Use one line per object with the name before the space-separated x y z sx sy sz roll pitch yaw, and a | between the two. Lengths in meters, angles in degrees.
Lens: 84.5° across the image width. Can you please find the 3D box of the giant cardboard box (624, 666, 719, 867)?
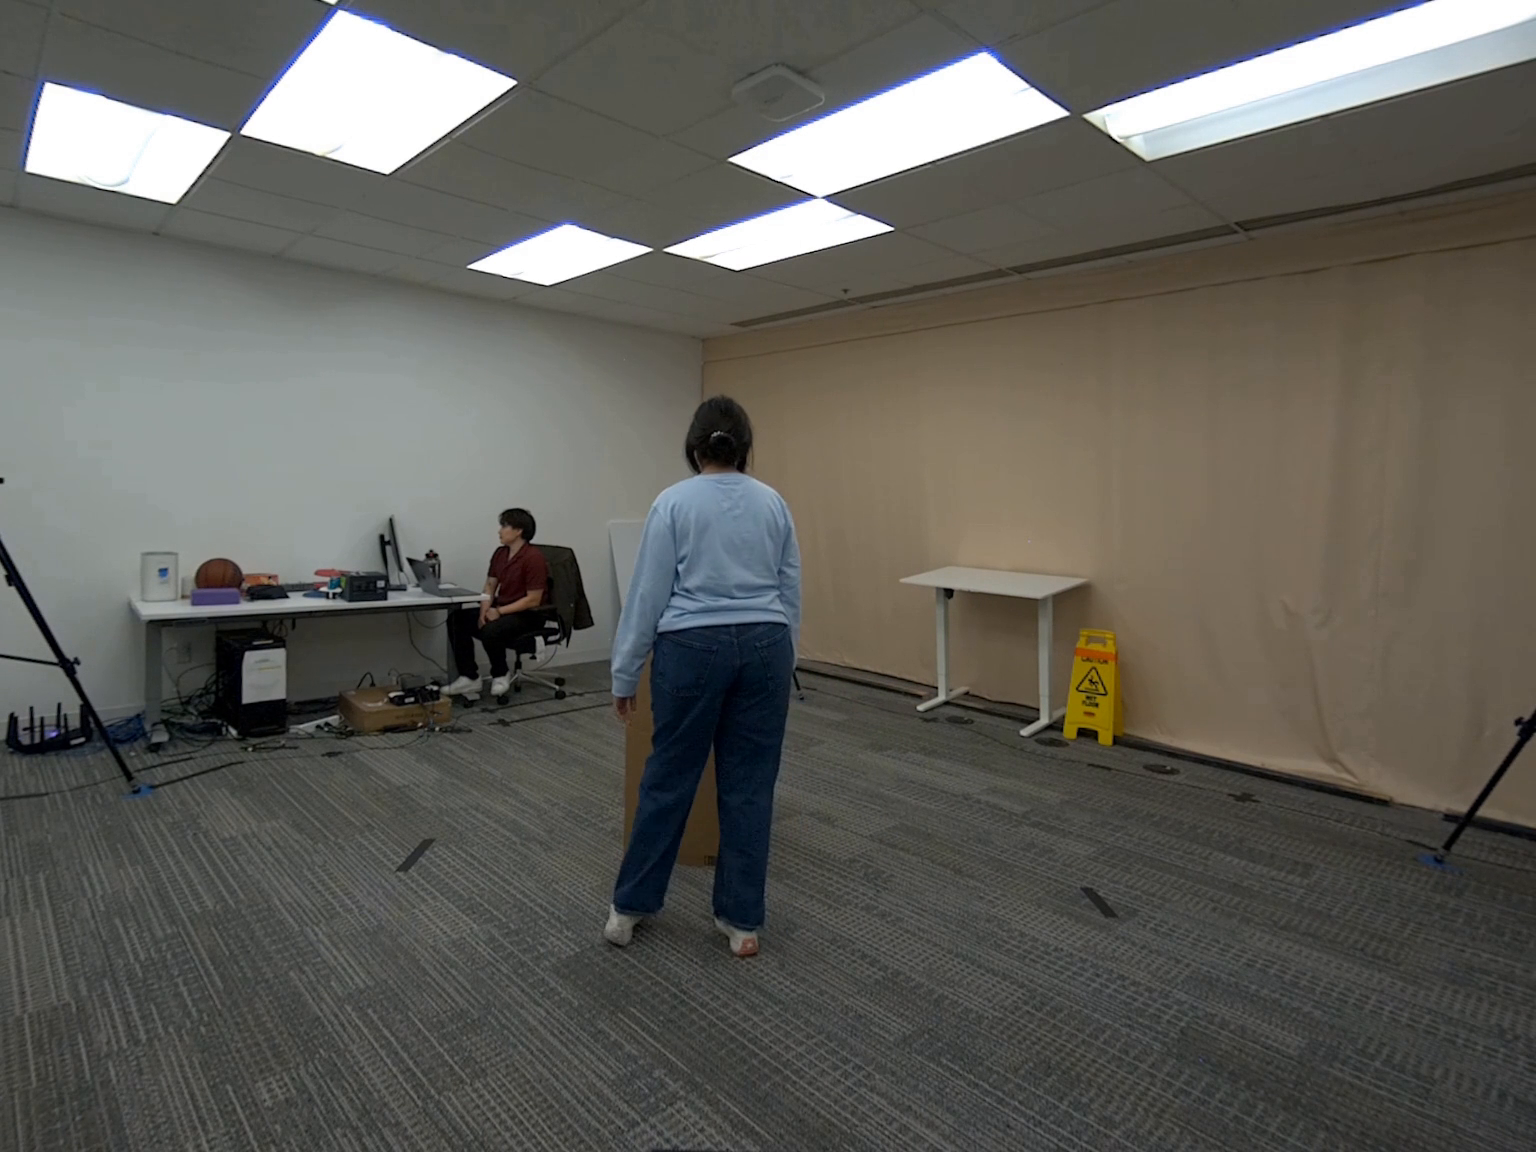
giant cardboard box | -0.281 0.564 3.438 0.431 1.023 0.572 2 3 13
